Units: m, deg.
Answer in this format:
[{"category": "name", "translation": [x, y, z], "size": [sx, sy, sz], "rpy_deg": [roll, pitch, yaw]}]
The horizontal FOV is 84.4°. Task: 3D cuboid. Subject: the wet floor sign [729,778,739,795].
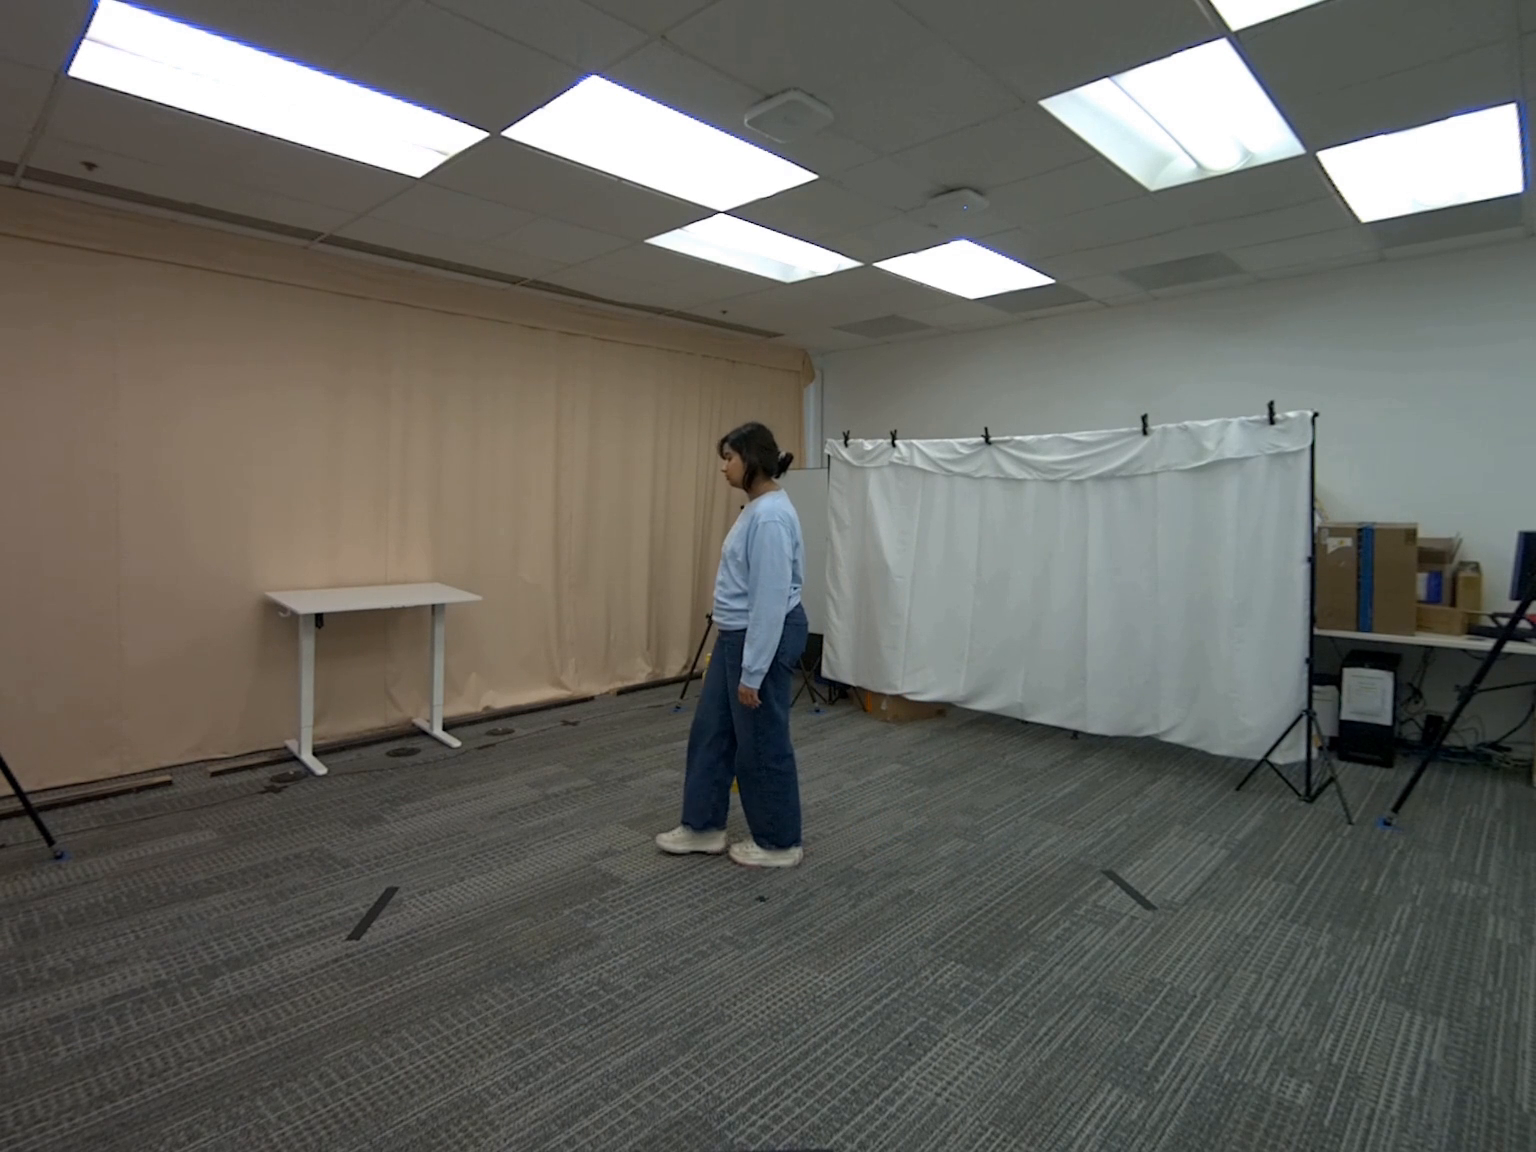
[{"category": "wet floor sign", "translation": [-0.158, 0.650, 3.623], "size": [0.279, 0.643, 0.294], "rpy_deg": [-1, 8, -11]}]
